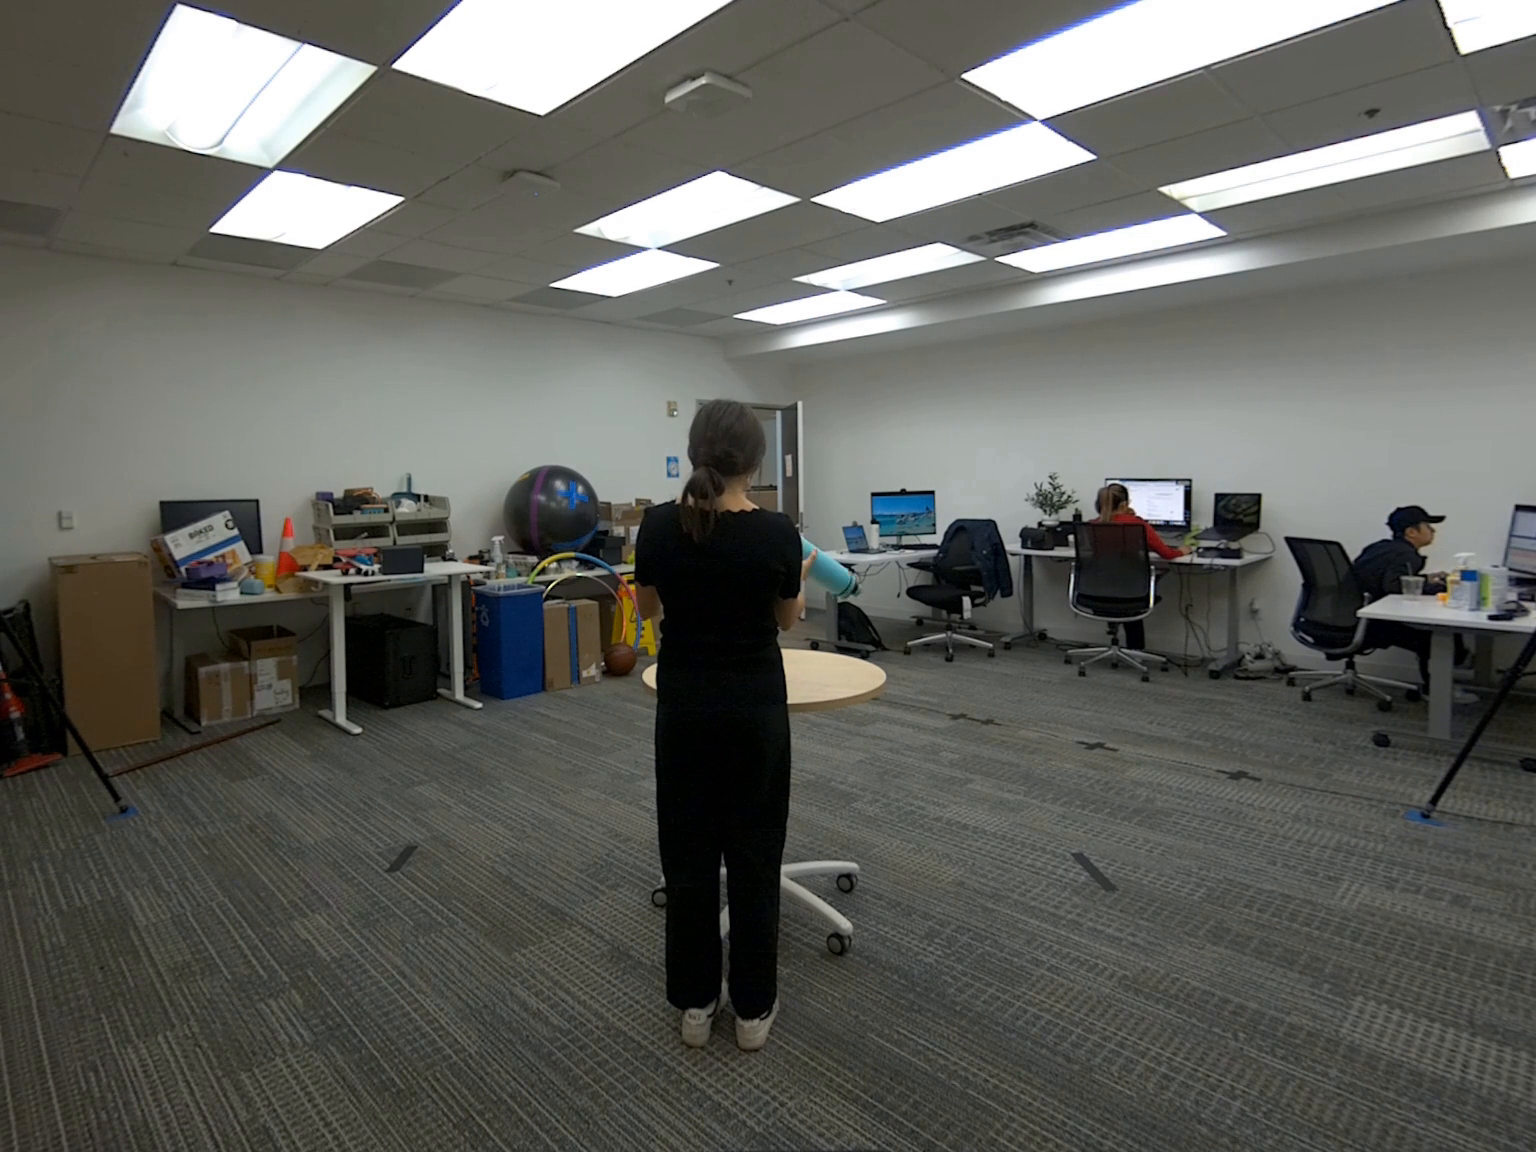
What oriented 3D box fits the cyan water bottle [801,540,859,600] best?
[{"bbox_3d":[0.159,-0.024,2.564,0.276,0.092,0.094,34,-11,-22],"label":"cyan water bottle"}]
